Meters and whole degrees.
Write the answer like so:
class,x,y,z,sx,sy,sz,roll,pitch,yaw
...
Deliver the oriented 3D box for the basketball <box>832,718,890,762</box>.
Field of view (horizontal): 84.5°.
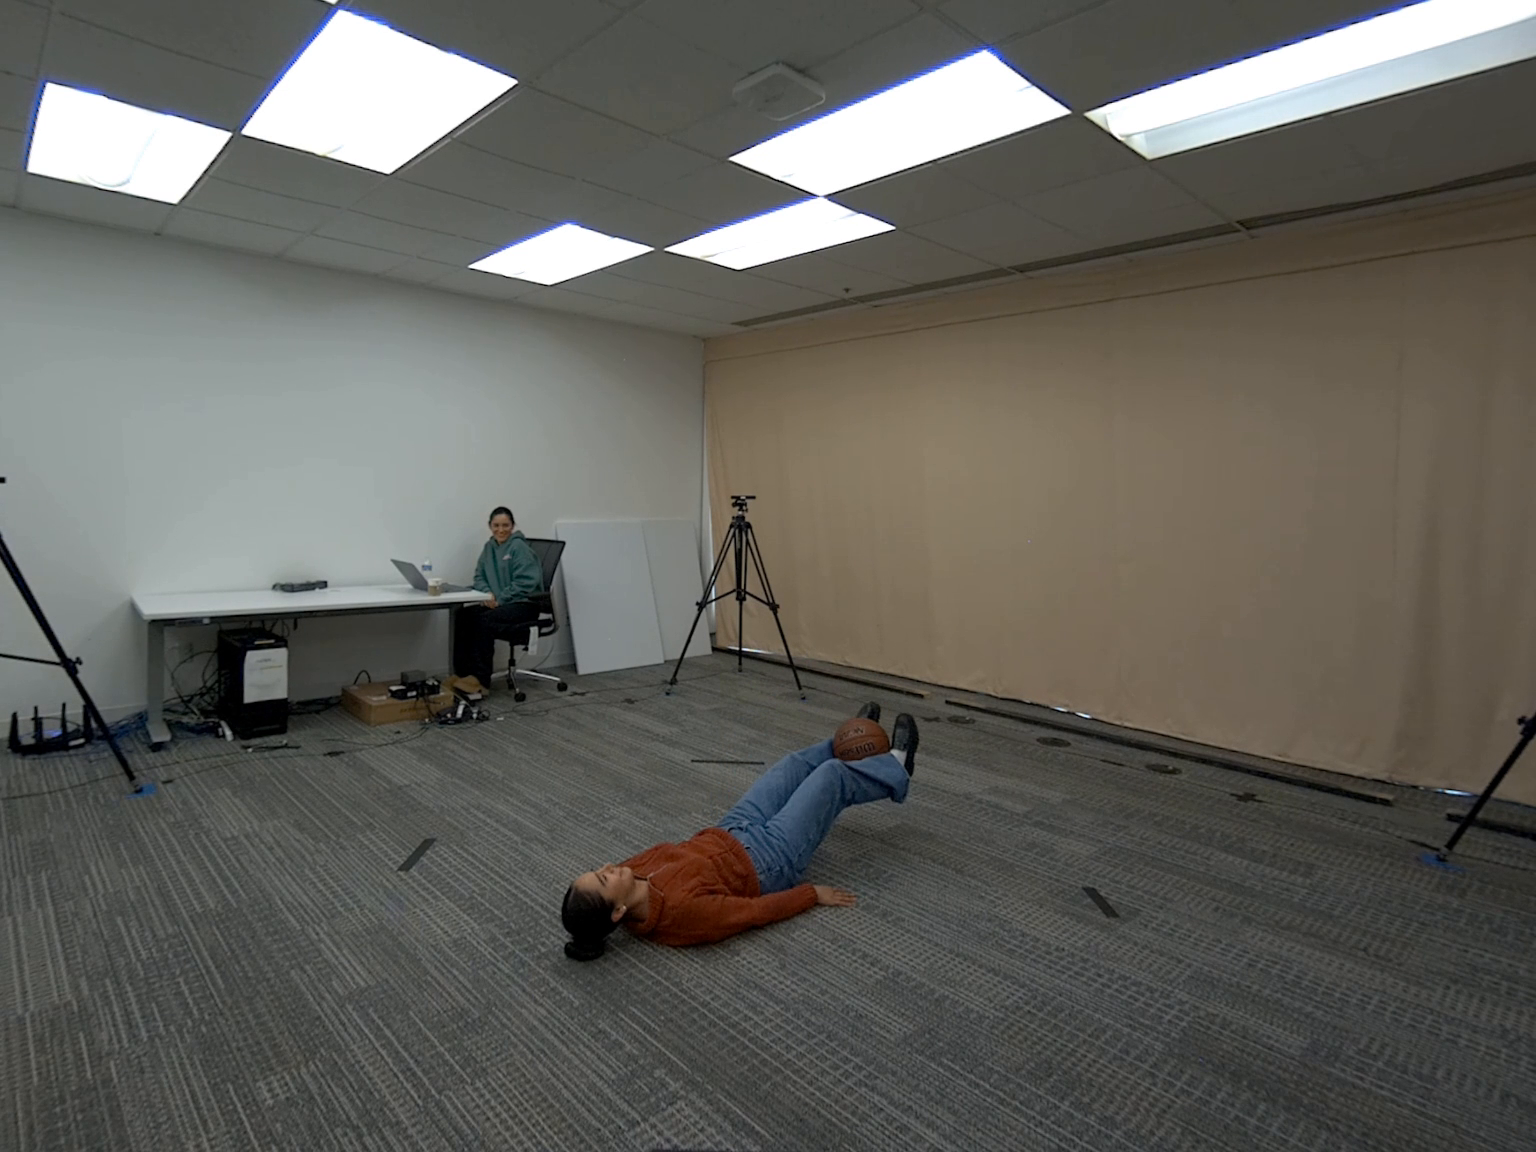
class,x,y,z,sx,sy,sz,roll,pitch,yaw
basketball,0.380,0.709,3.486,0.236,0.235,0.237,1,4,-1
